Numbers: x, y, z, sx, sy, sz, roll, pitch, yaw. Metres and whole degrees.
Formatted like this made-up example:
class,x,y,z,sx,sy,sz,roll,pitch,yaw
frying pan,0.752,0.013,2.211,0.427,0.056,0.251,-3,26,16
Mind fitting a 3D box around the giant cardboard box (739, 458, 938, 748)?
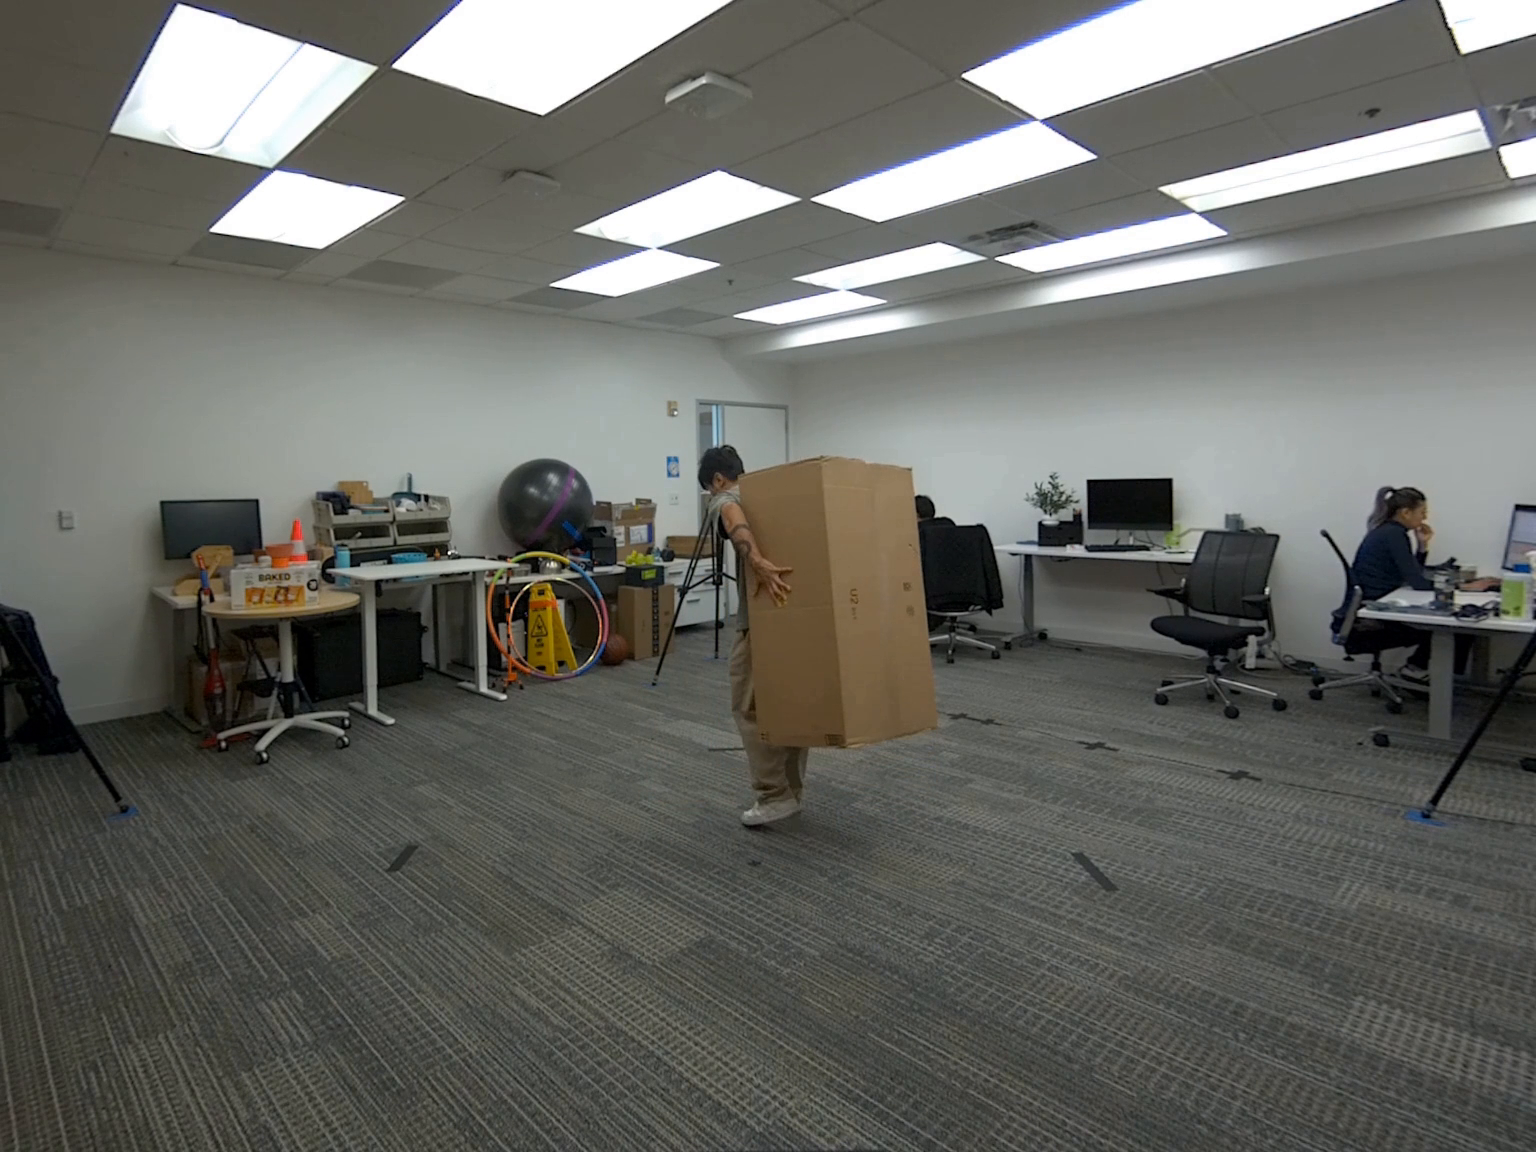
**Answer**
class,x,y,z,sx,sy,sz,roll,pitch,yaw
giant cardboard box,0.272,0.105,3.296,0.436,1.031,0.560,-9,-7,44
